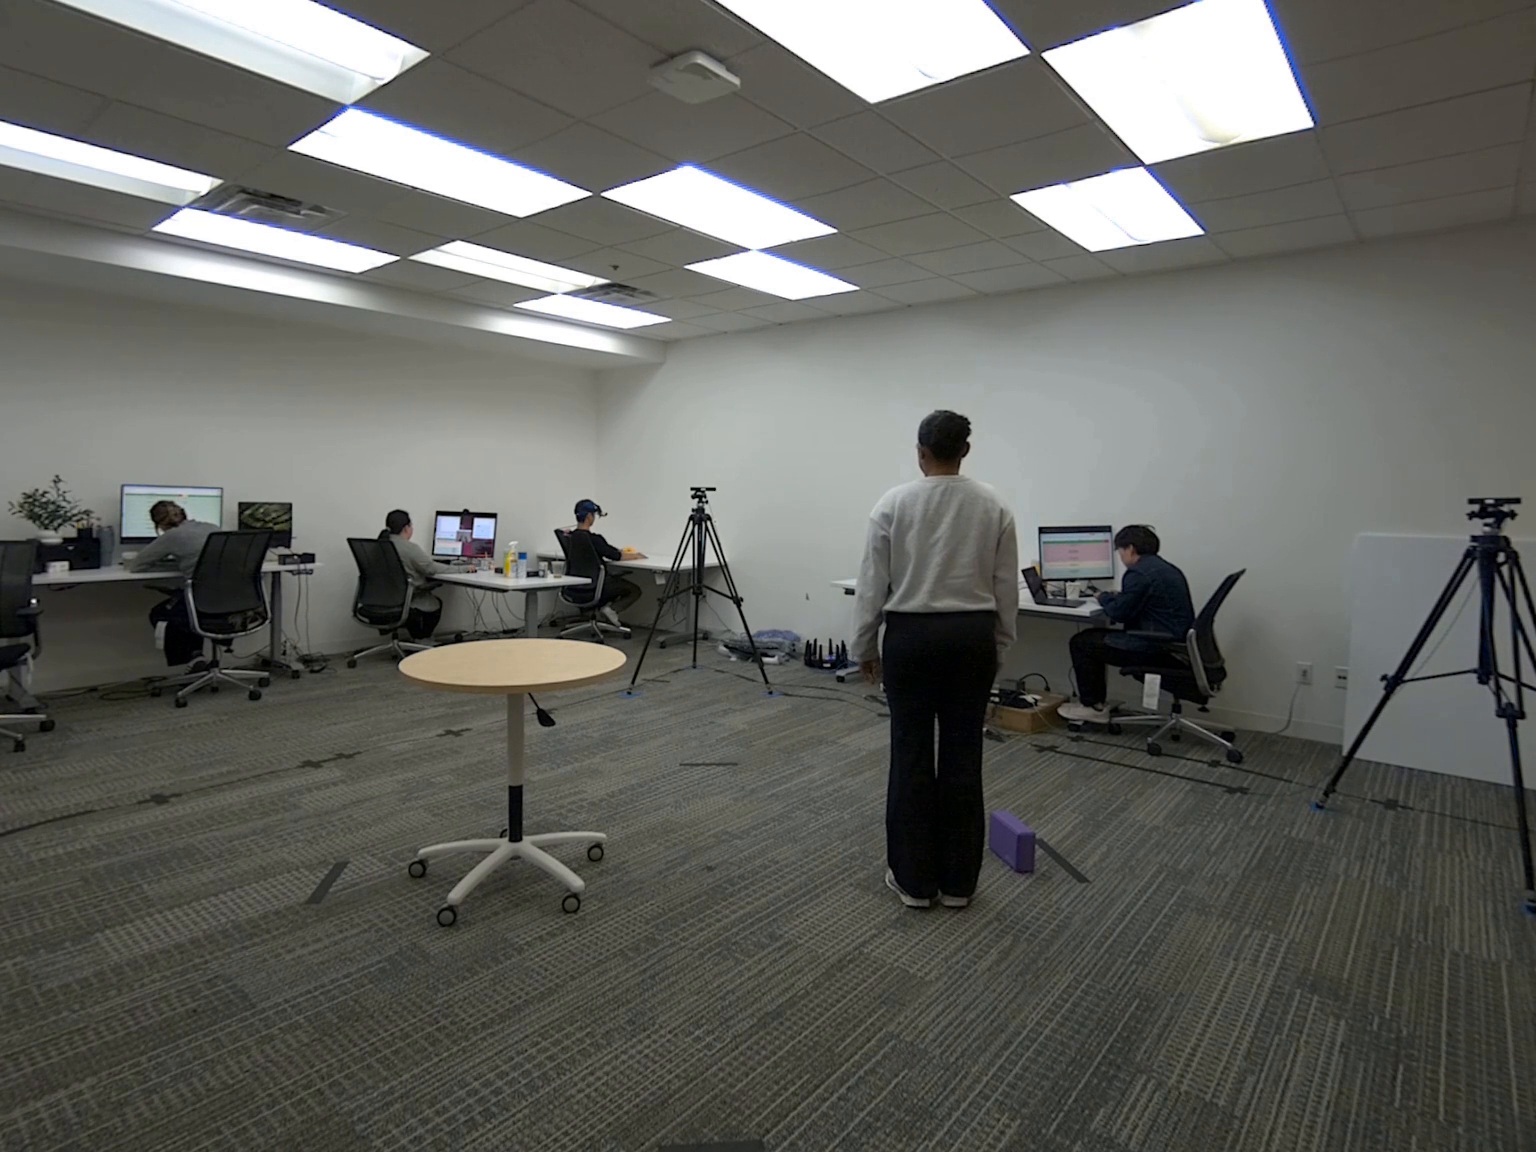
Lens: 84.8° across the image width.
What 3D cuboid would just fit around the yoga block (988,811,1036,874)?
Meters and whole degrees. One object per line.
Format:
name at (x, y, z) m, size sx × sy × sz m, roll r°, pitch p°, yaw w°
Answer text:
yoga block at (0.927, 1.009, 3.248) m, size 0.075 × 0.148 × 0.233 m, roll 0°, pitch 5°, yaw -13°
